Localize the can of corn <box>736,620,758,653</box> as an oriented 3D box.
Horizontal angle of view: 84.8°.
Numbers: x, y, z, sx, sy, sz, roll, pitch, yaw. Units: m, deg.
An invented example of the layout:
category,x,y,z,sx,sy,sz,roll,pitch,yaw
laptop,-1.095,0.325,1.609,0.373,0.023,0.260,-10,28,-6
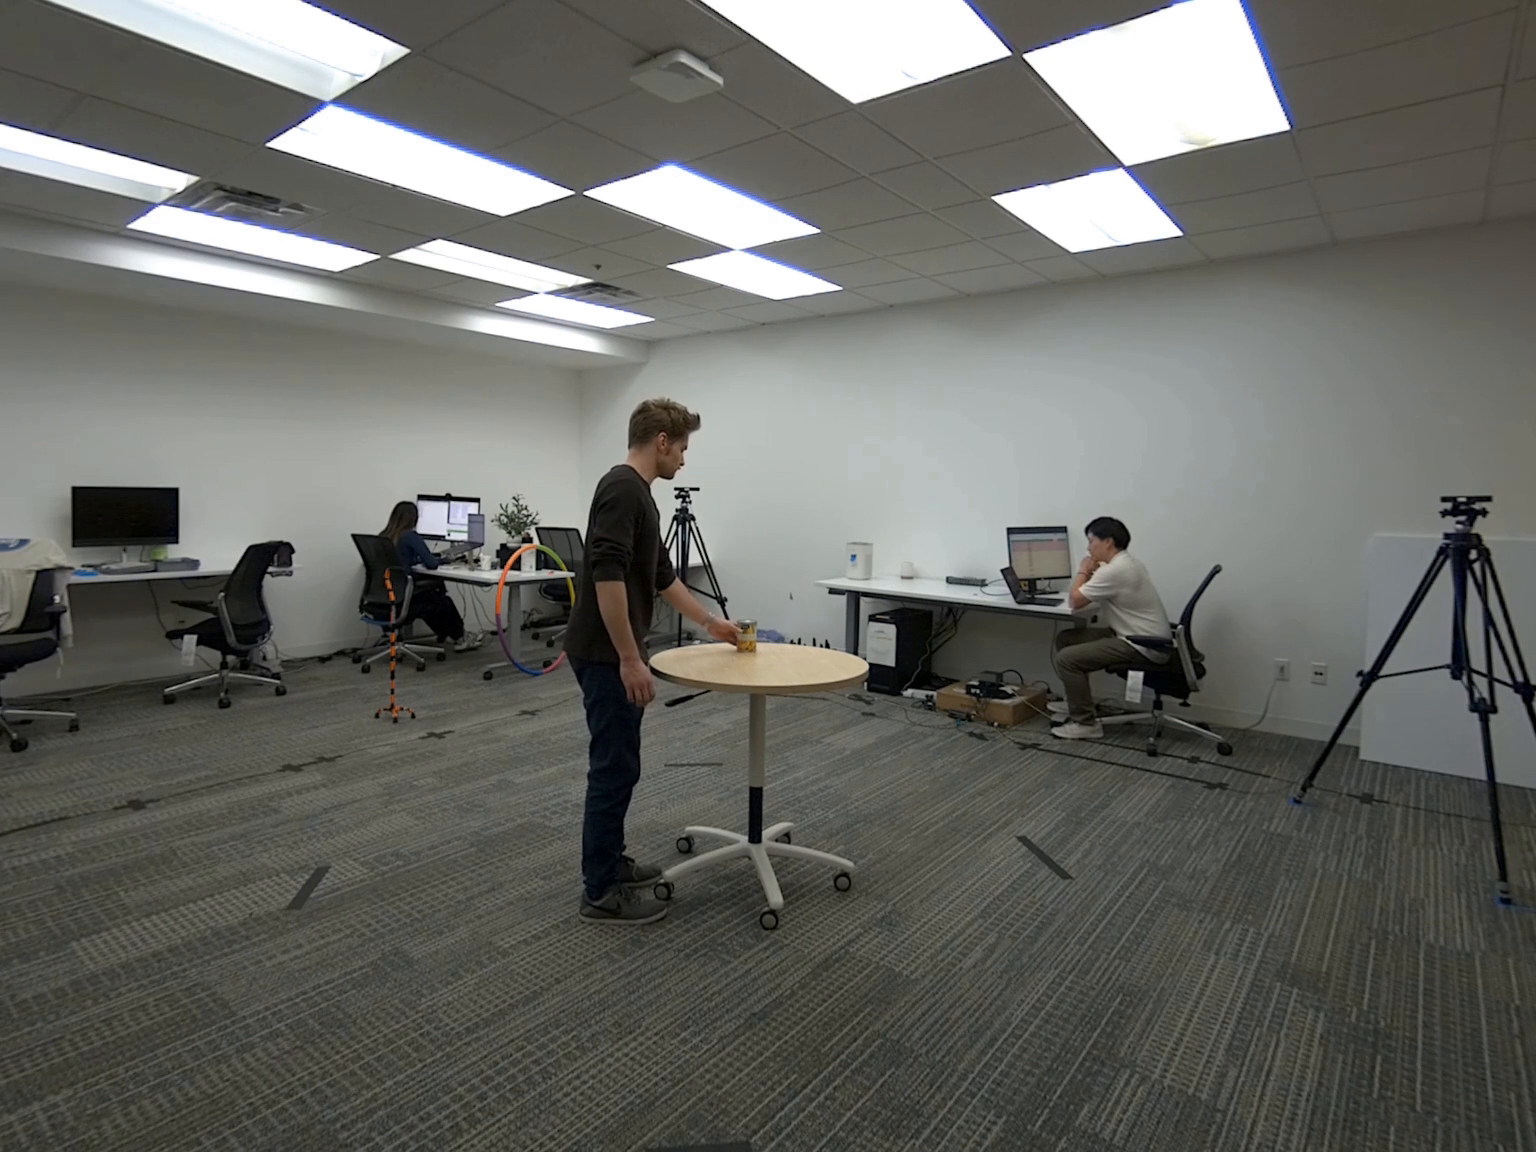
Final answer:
category,x,y,z,sx,sy,sz,roll,pitch,yaw
can of corn,-0.084,0.221,3.183,0.074,0.111,0.074,2,2,-2
